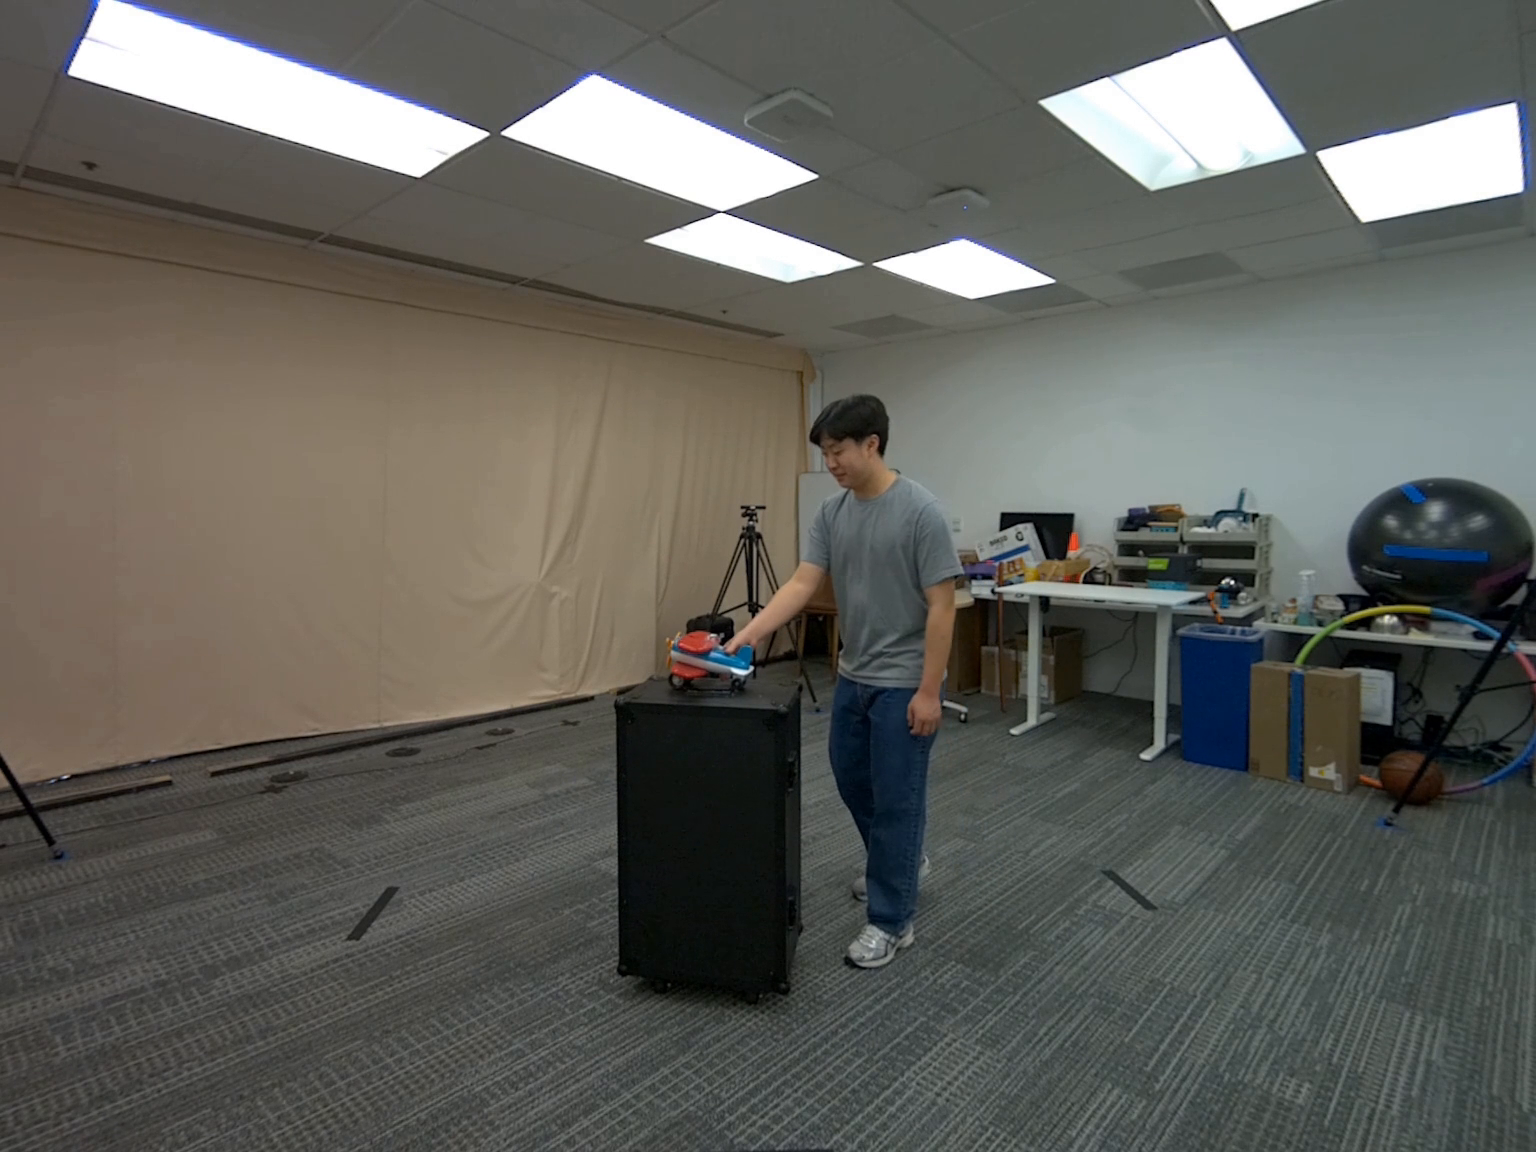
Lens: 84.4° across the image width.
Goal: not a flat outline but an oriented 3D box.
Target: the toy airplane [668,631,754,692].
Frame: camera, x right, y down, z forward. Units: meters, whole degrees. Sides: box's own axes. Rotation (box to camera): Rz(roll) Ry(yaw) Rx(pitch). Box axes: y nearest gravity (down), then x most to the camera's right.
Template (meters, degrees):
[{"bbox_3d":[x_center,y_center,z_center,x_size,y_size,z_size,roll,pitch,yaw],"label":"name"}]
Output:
[{"bbox_3d":[-0.172,0.255,2.536,0.255,0.156,0.255,-3,5,-15],"label":"toy airplane"}]
